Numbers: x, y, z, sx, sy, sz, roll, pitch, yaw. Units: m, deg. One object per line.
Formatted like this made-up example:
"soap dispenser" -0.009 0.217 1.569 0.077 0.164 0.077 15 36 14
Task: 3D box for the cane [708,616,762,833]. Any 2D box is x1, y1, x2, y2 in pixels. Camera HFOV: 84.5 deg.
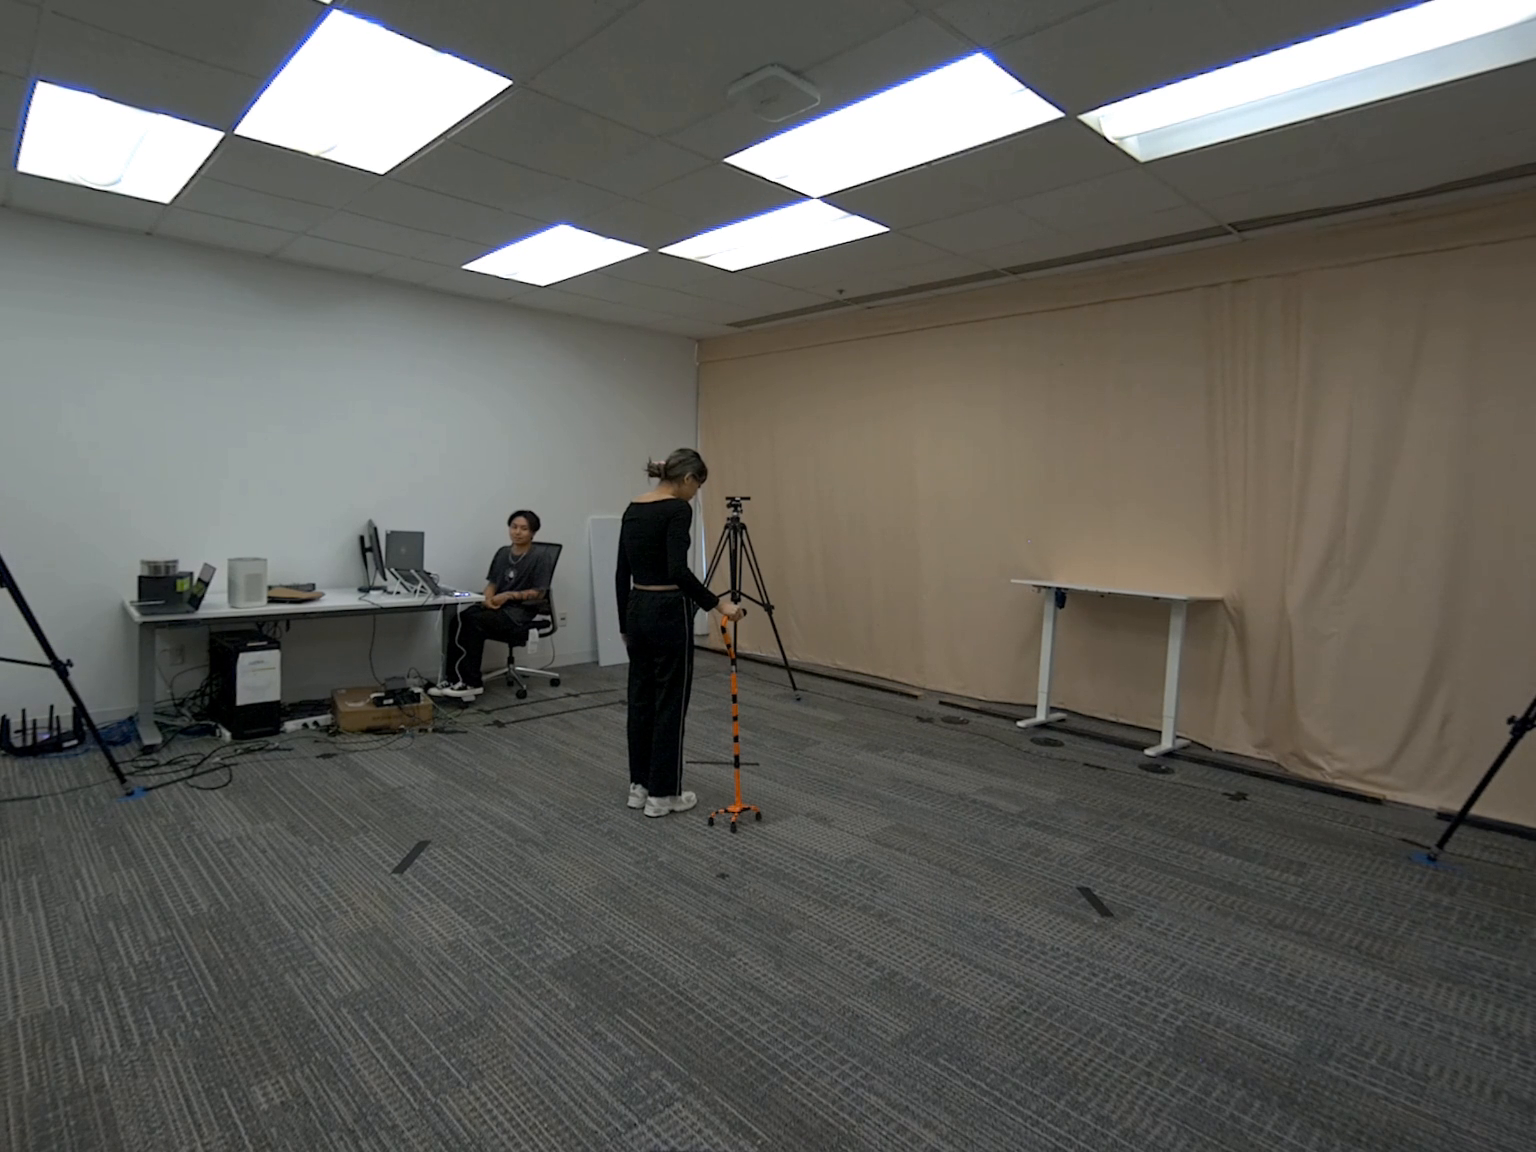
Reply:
"cane" -0.161 0.607 3.619 0.155 0.907 0.202 0 2 35
